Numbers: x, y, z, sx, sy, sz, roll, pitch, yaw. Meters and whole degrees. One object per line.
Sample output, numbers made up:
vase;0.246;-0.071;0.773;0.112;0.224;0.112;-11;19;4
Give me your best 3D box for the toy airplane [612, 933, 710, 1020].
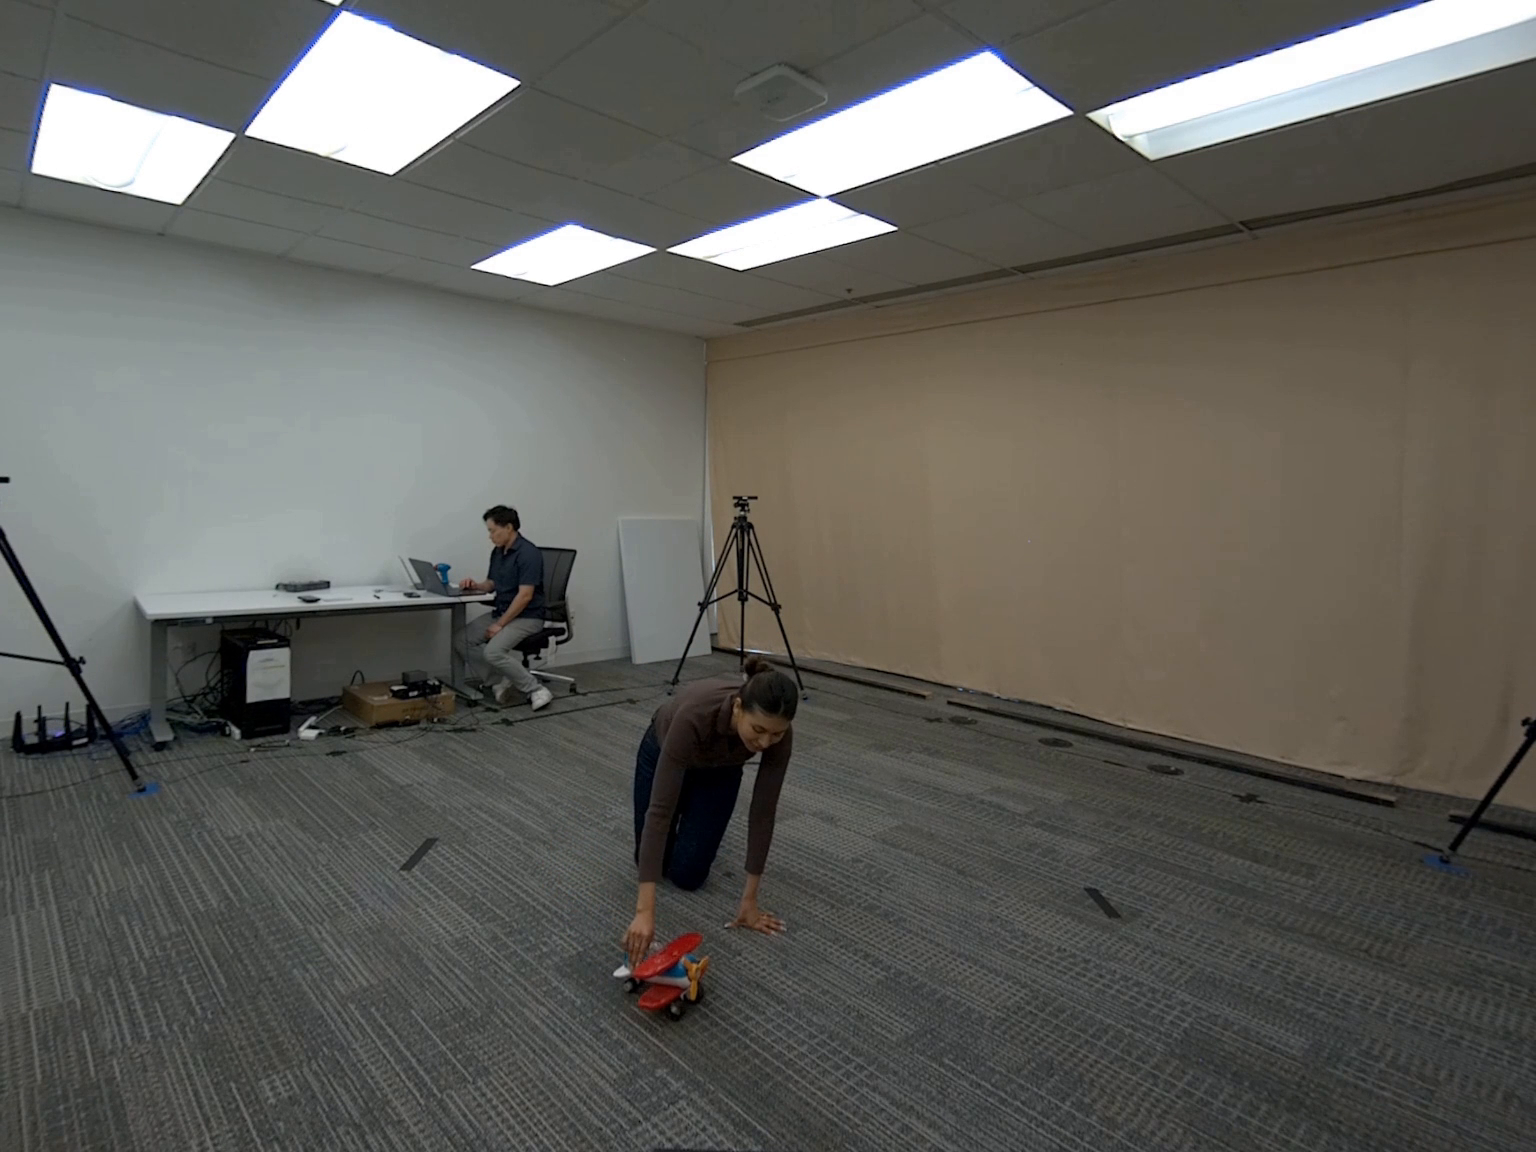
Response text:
toy airplane;-0.311;1.106;2.299;0.260;0.156;0.251;3;5;4
